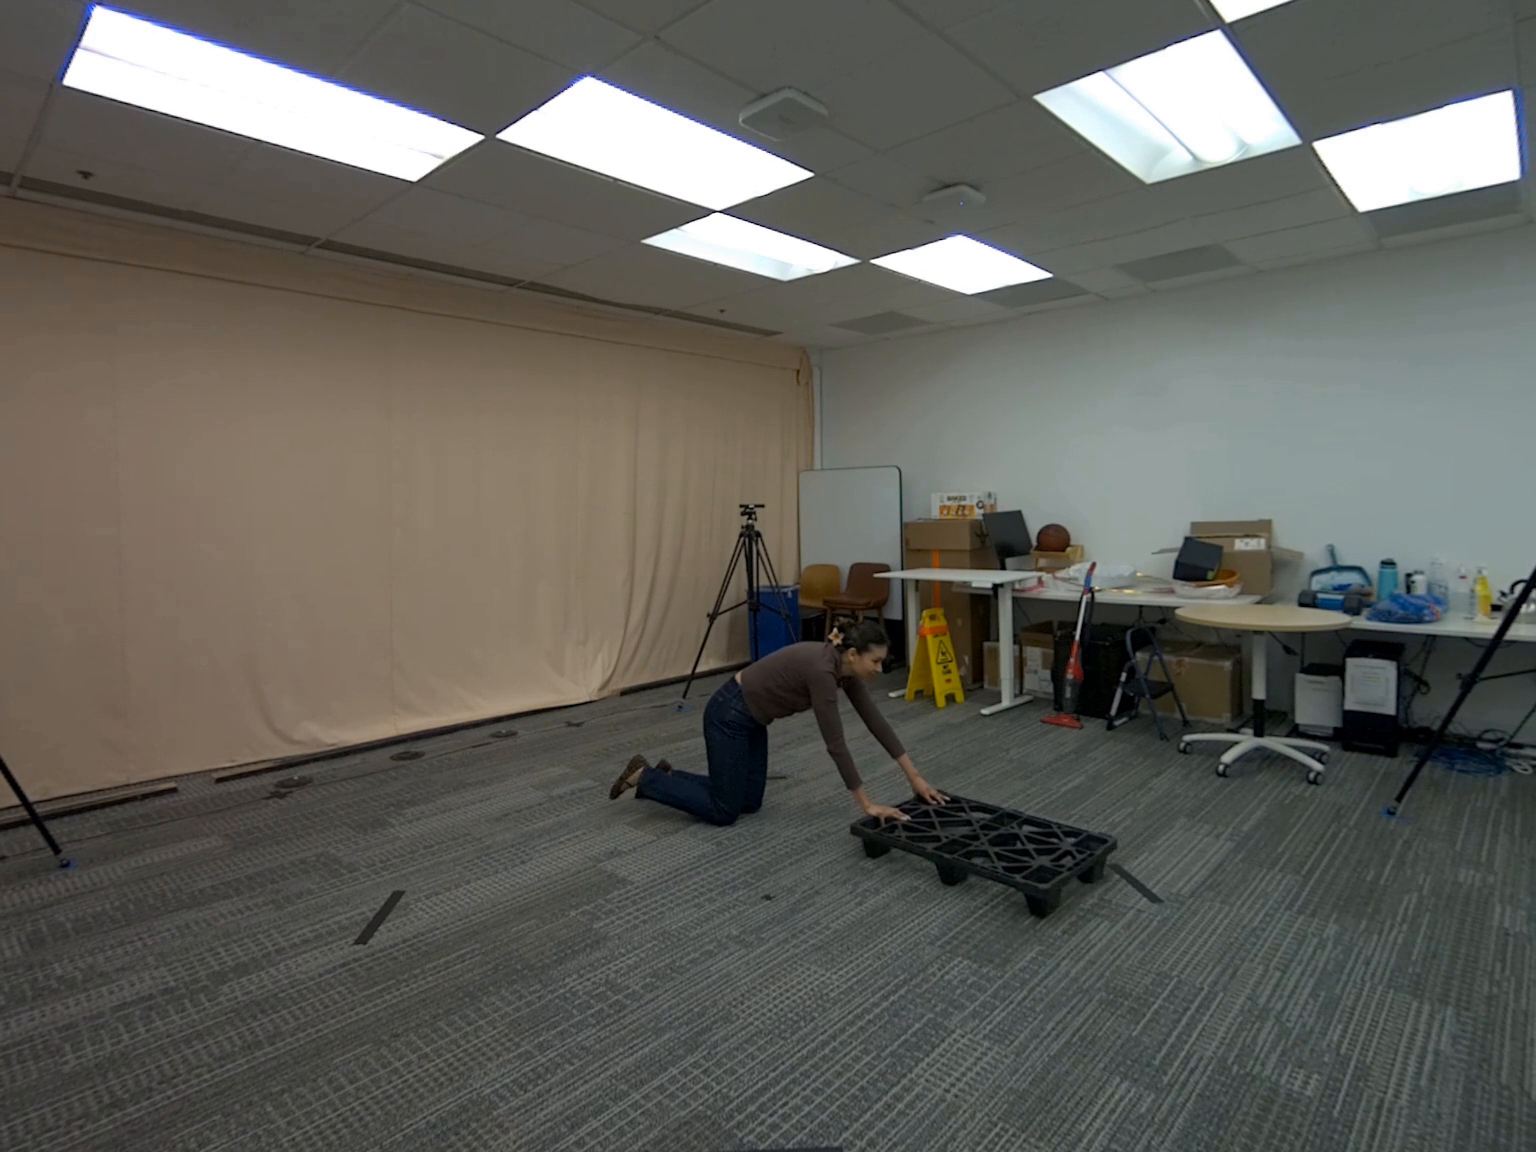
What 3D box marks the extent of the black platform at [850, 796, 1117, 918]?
[{"bbox_3d":[0.811,1.038,3.214,0.832,0.143,0.586,4,6,44],"label":"black platform"}]
